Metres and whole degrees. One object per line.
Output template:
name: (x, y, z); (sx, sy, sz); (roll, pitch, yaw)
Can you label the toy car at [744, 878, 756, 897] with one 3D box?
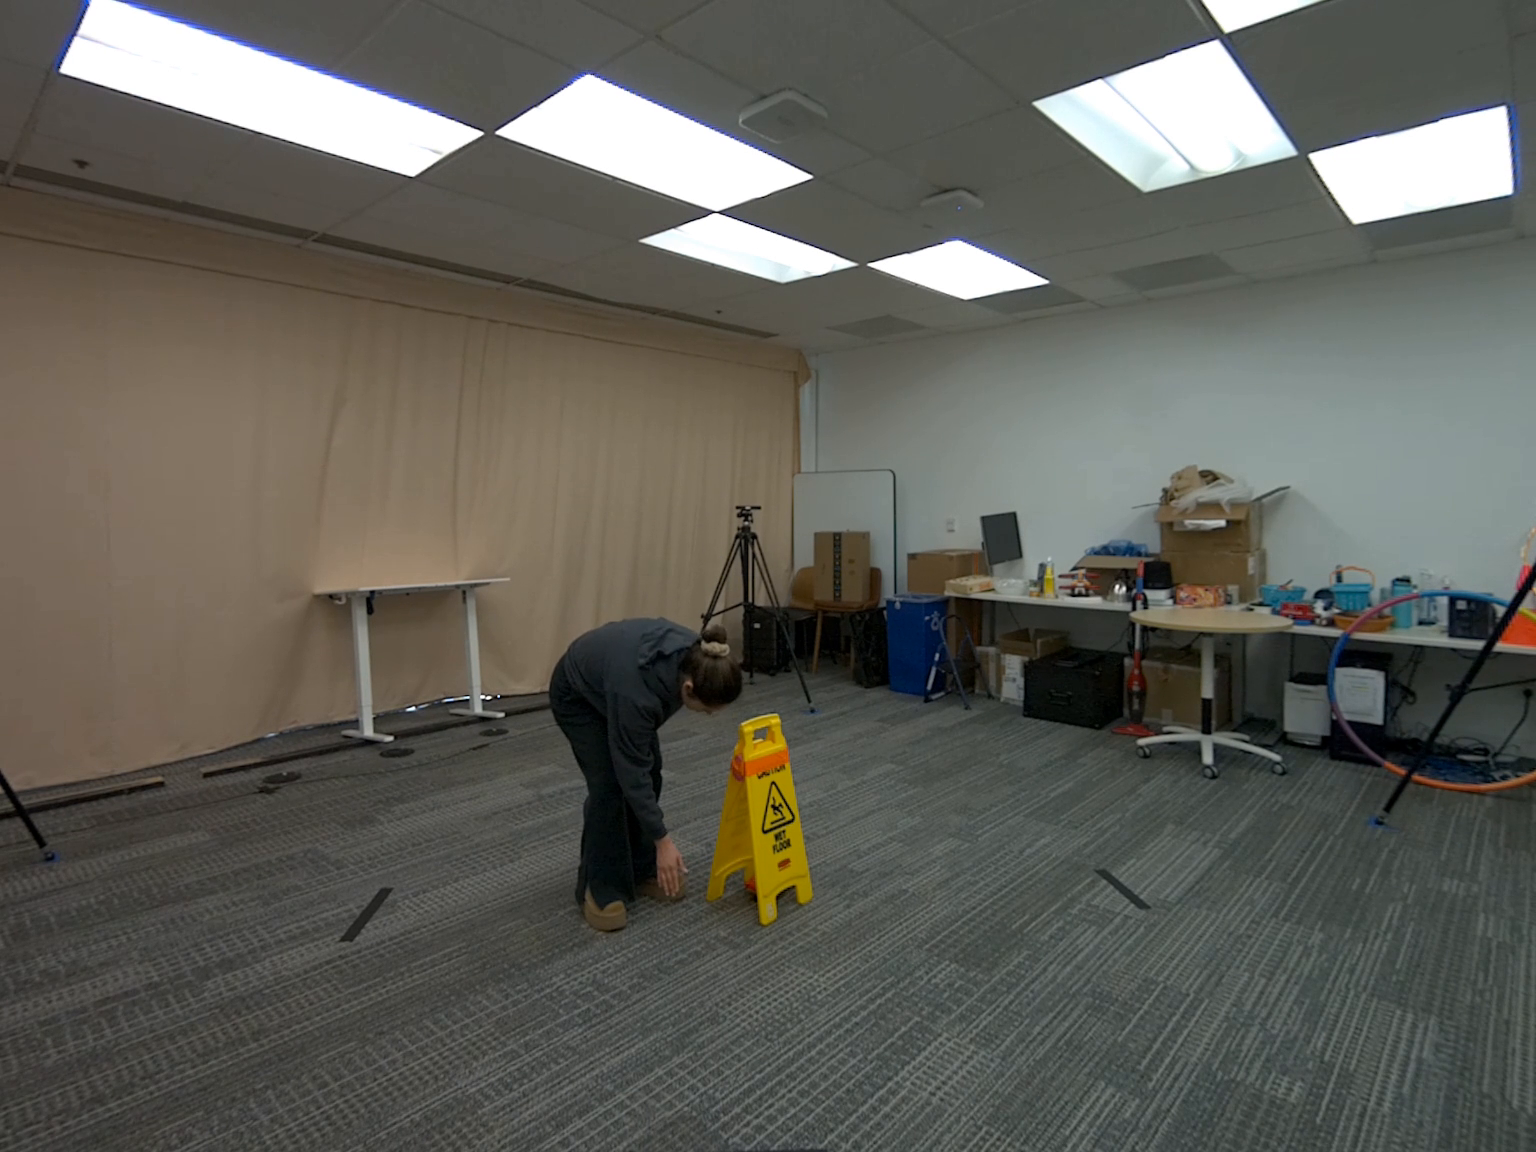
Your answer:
toy car: (0.051, 1.109, 3.033); (0.134, 0.083, 0.246); (3, -4, 43)
